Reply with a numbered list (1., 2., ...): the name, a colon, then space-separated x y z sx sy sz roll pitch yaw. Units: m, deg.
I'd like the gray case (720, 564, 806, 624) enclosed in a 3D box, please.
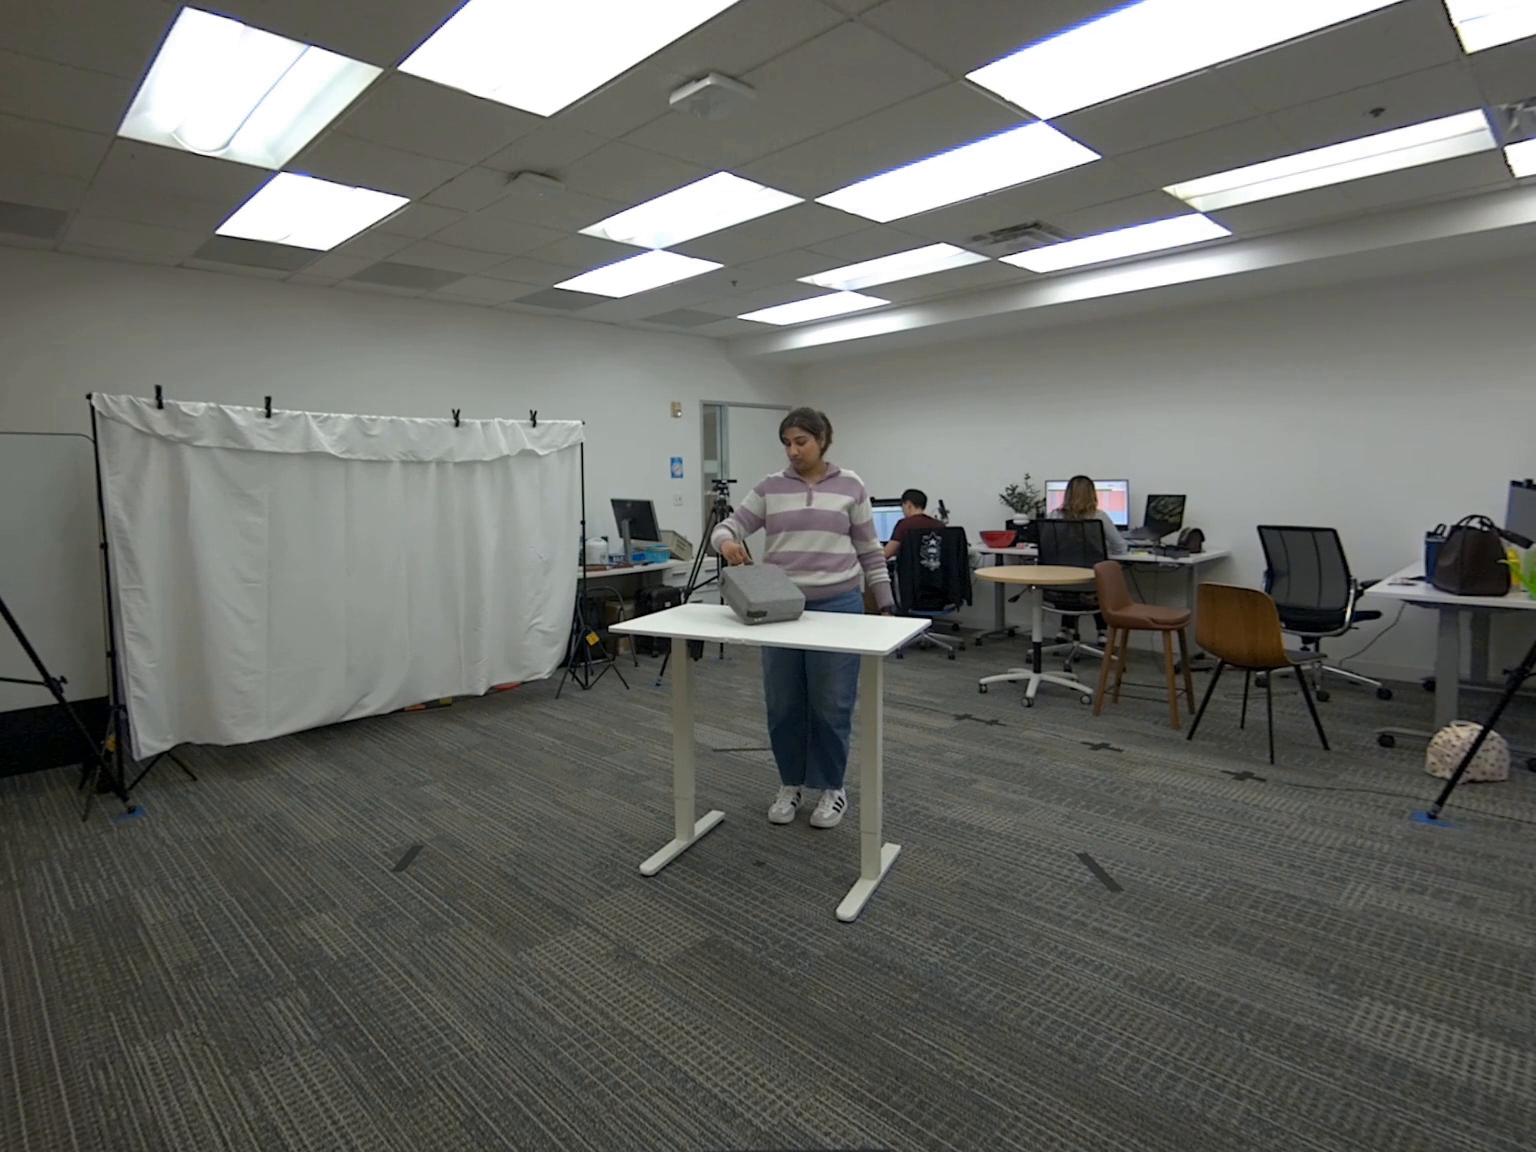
1. gray case: -0.020 0.063 3.128 0.251 0.102 0.271 -5 33 -29
